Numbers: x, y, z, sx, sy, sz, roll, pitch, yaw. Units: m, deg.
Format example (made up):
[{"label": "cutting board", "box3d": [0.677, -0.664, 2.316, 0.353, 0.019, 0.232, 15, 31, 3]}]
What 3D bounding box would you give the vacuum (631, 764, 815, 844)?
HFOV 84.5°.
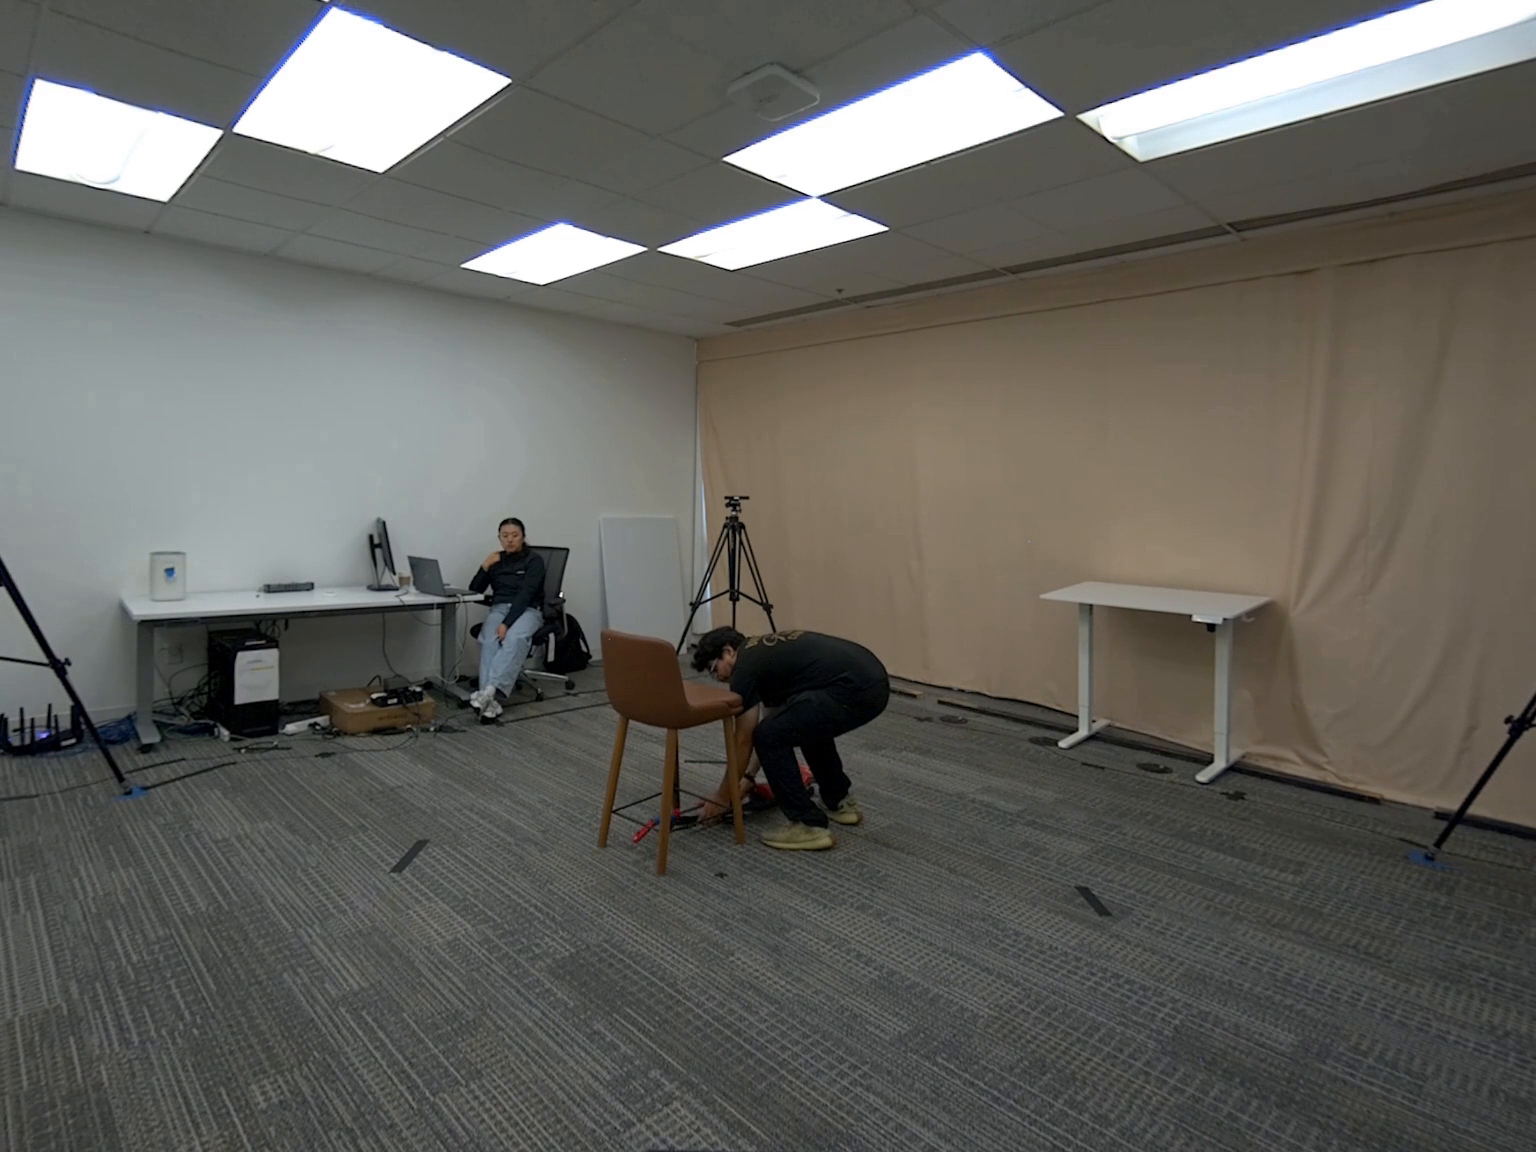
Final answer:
[{"label": "vacuum", "box3d": [-0.176, 1.001, 3.641, 0.259, 0.143, 1.026, 3, 5, 42]}]
